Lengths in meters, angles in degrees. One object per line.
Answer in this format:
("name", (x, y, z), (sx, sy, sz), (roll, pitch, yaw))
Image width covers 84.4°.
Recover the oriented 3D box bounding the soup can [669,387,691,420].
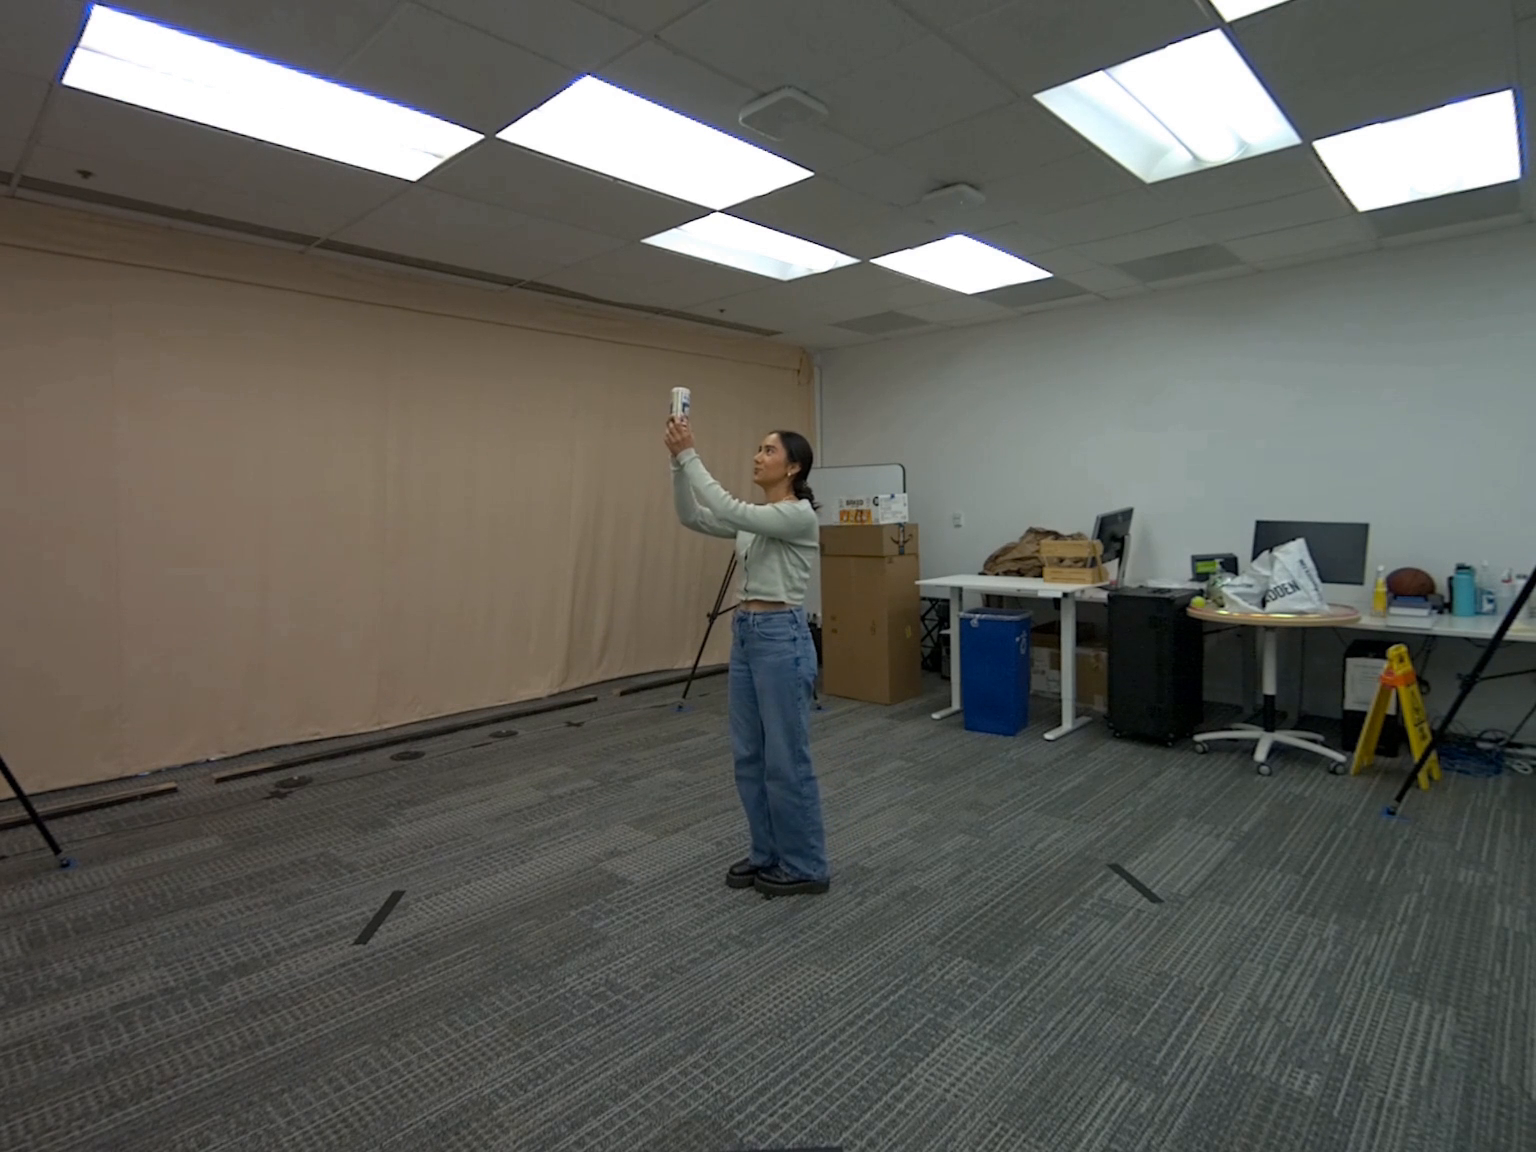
("soup can", (-0.292, -0.581, 2.900), (0.067, 0.122, 0.067), (5, -9, -1))
